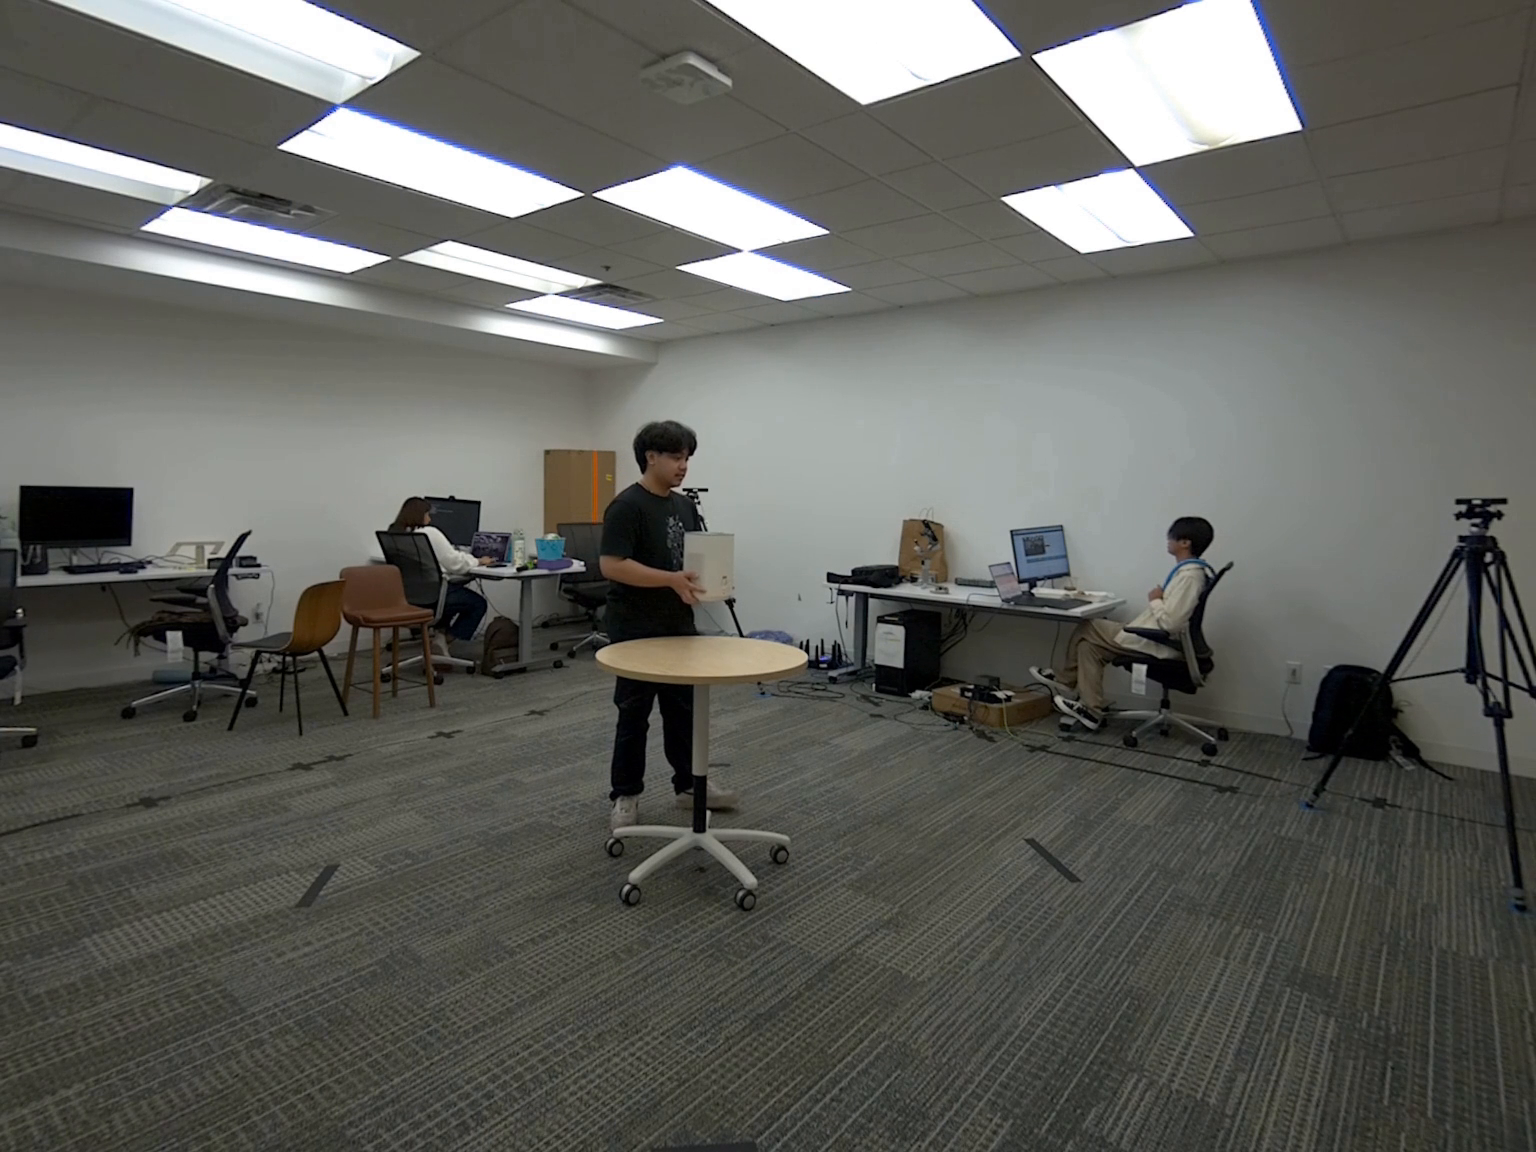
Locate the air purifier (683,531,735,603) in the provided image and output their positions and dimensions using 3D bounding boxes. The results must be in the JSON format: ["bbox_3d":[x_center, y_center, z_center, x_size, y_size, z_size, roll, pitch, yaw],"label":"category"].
[{"bbox_3d":[-0.254,-0.044,3.387,0.177,0.264,0.166,5,4,35],"label":"air purifier"}]
